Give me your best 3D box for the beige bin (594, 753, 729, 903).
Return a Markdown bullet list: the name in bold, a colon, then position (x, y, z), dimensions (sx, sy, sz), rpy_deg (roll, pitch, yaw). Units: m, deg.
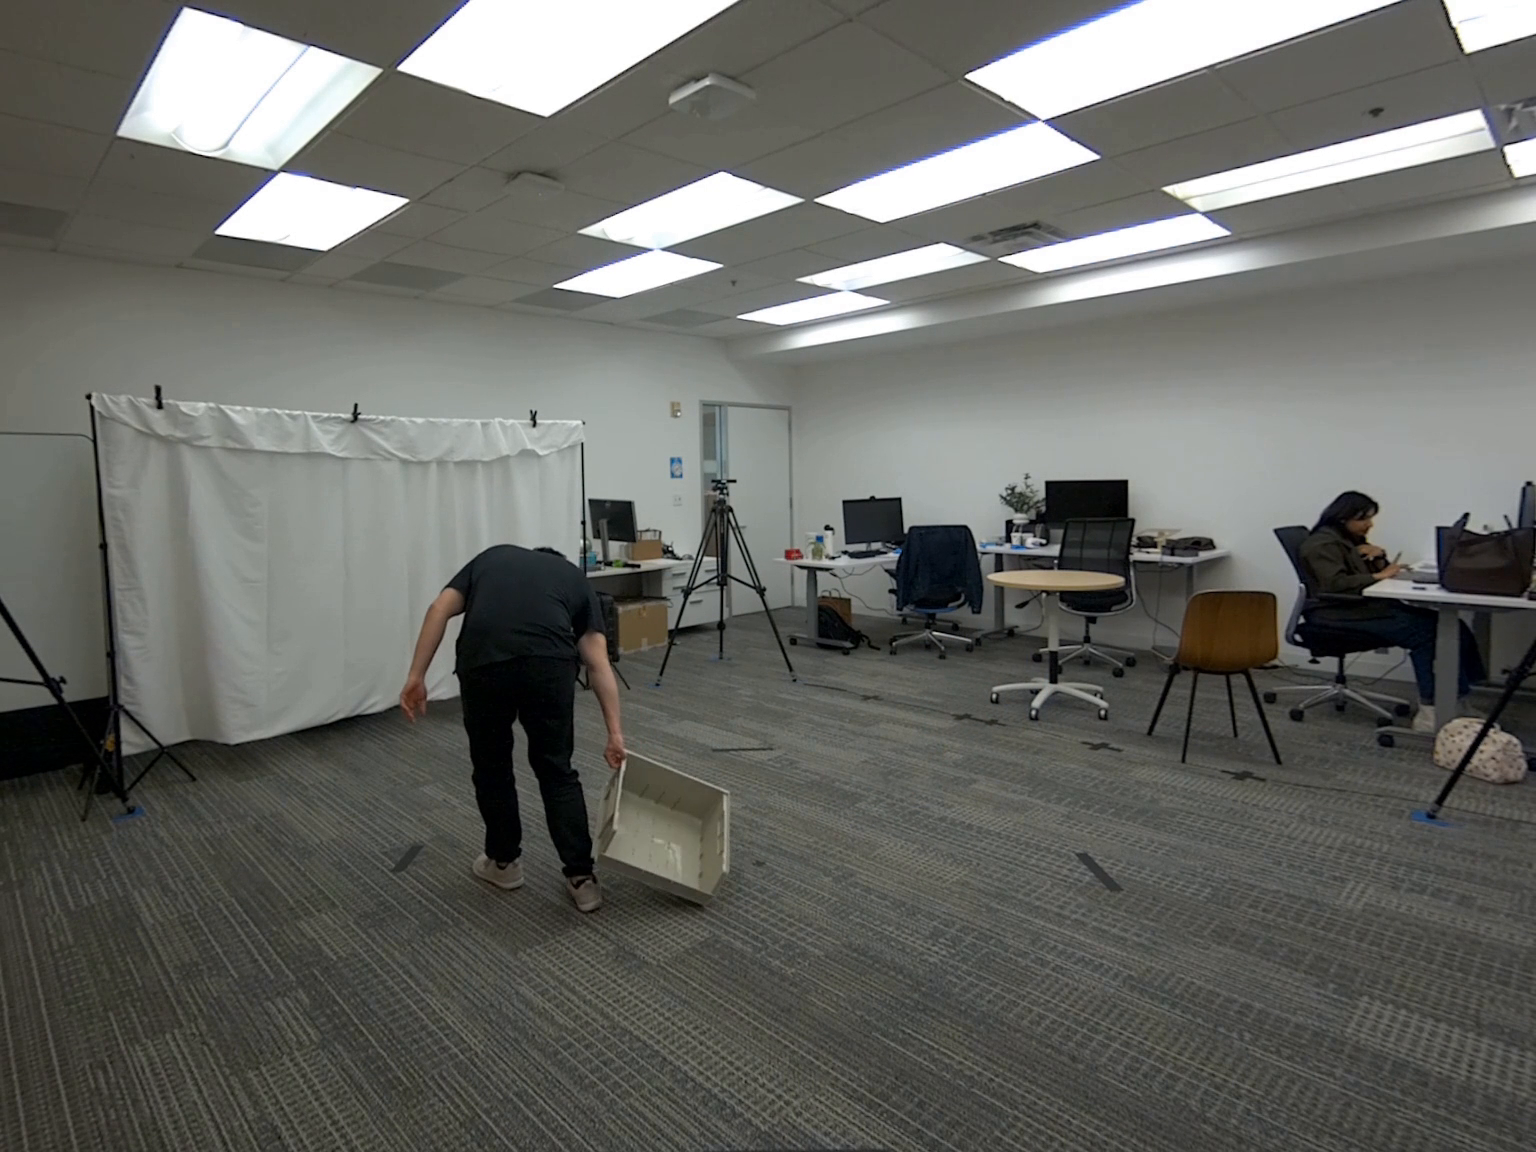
- **beige bin**: position (-0.344, 0.850, 2.887), dimensions (0.414, 0.188, 0.387), rpy_deg (25, 25, -16)
